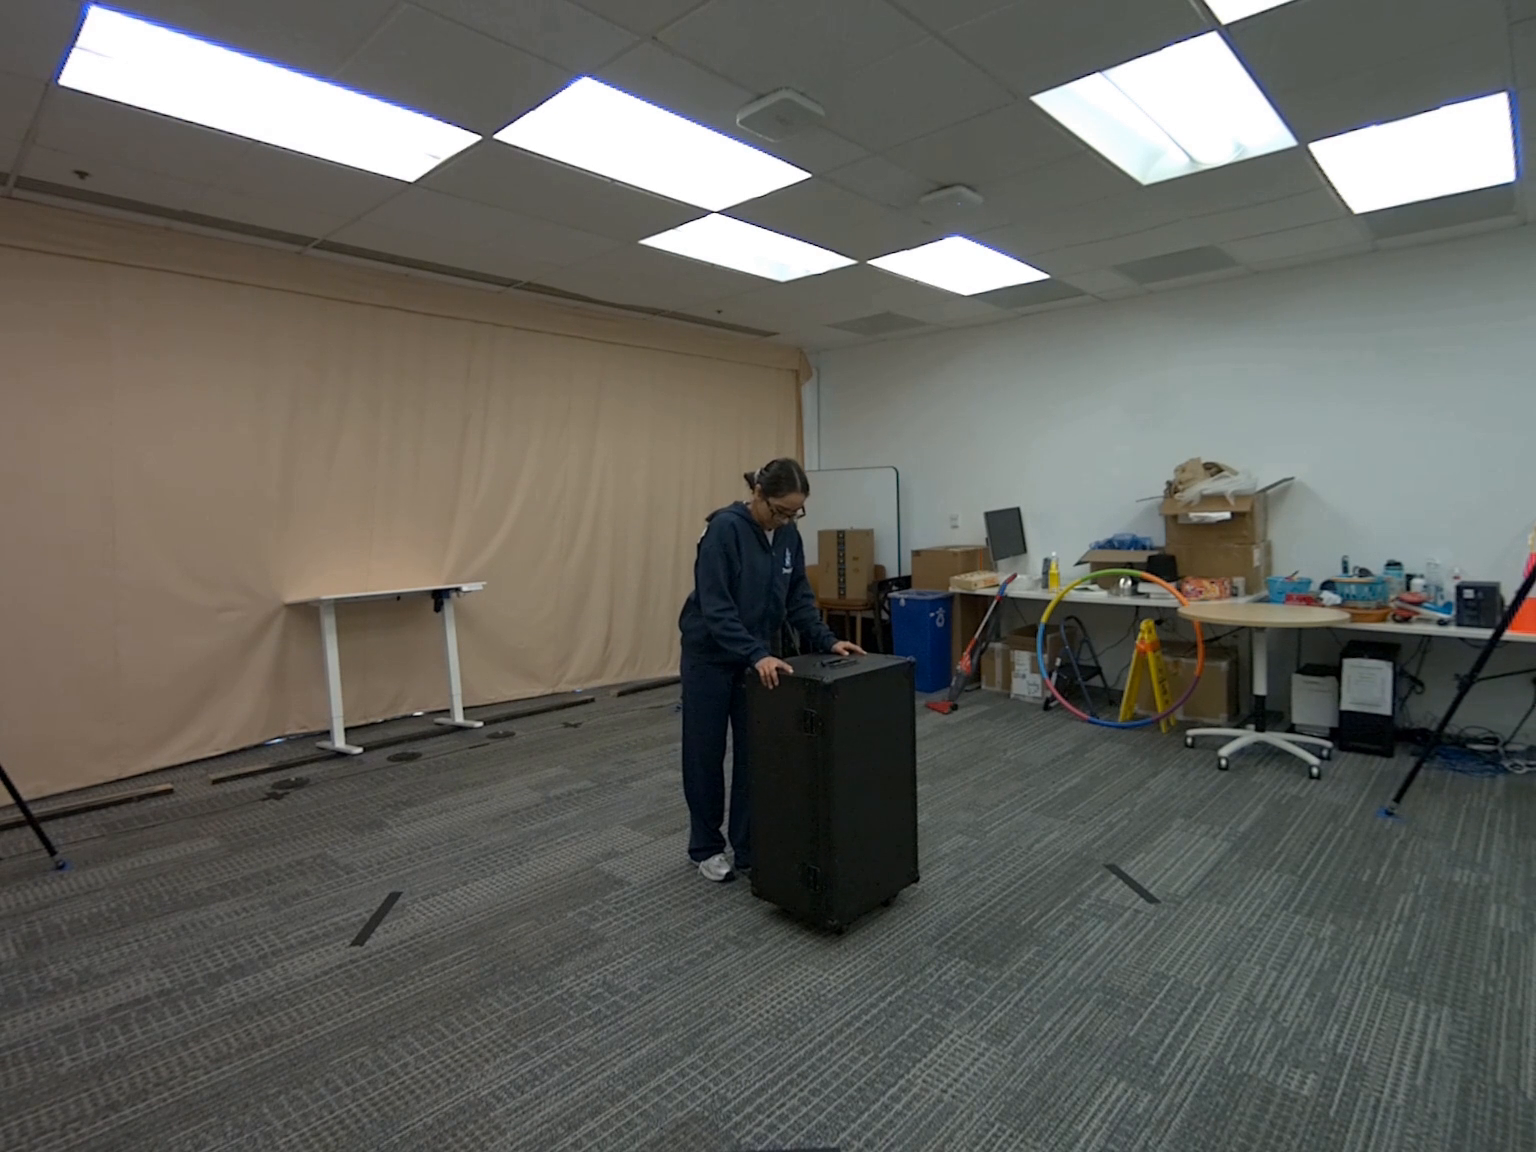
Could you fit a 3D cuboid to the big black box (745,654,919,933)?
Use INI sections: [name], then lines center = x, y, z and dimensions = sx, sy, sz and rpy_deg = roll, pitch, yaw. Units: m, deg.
[big black box]
center = 0.227, 0.724, 2.883
dimensions = 0.409, 0.859, 0.505
rpy_deg = 2, 5, 45
